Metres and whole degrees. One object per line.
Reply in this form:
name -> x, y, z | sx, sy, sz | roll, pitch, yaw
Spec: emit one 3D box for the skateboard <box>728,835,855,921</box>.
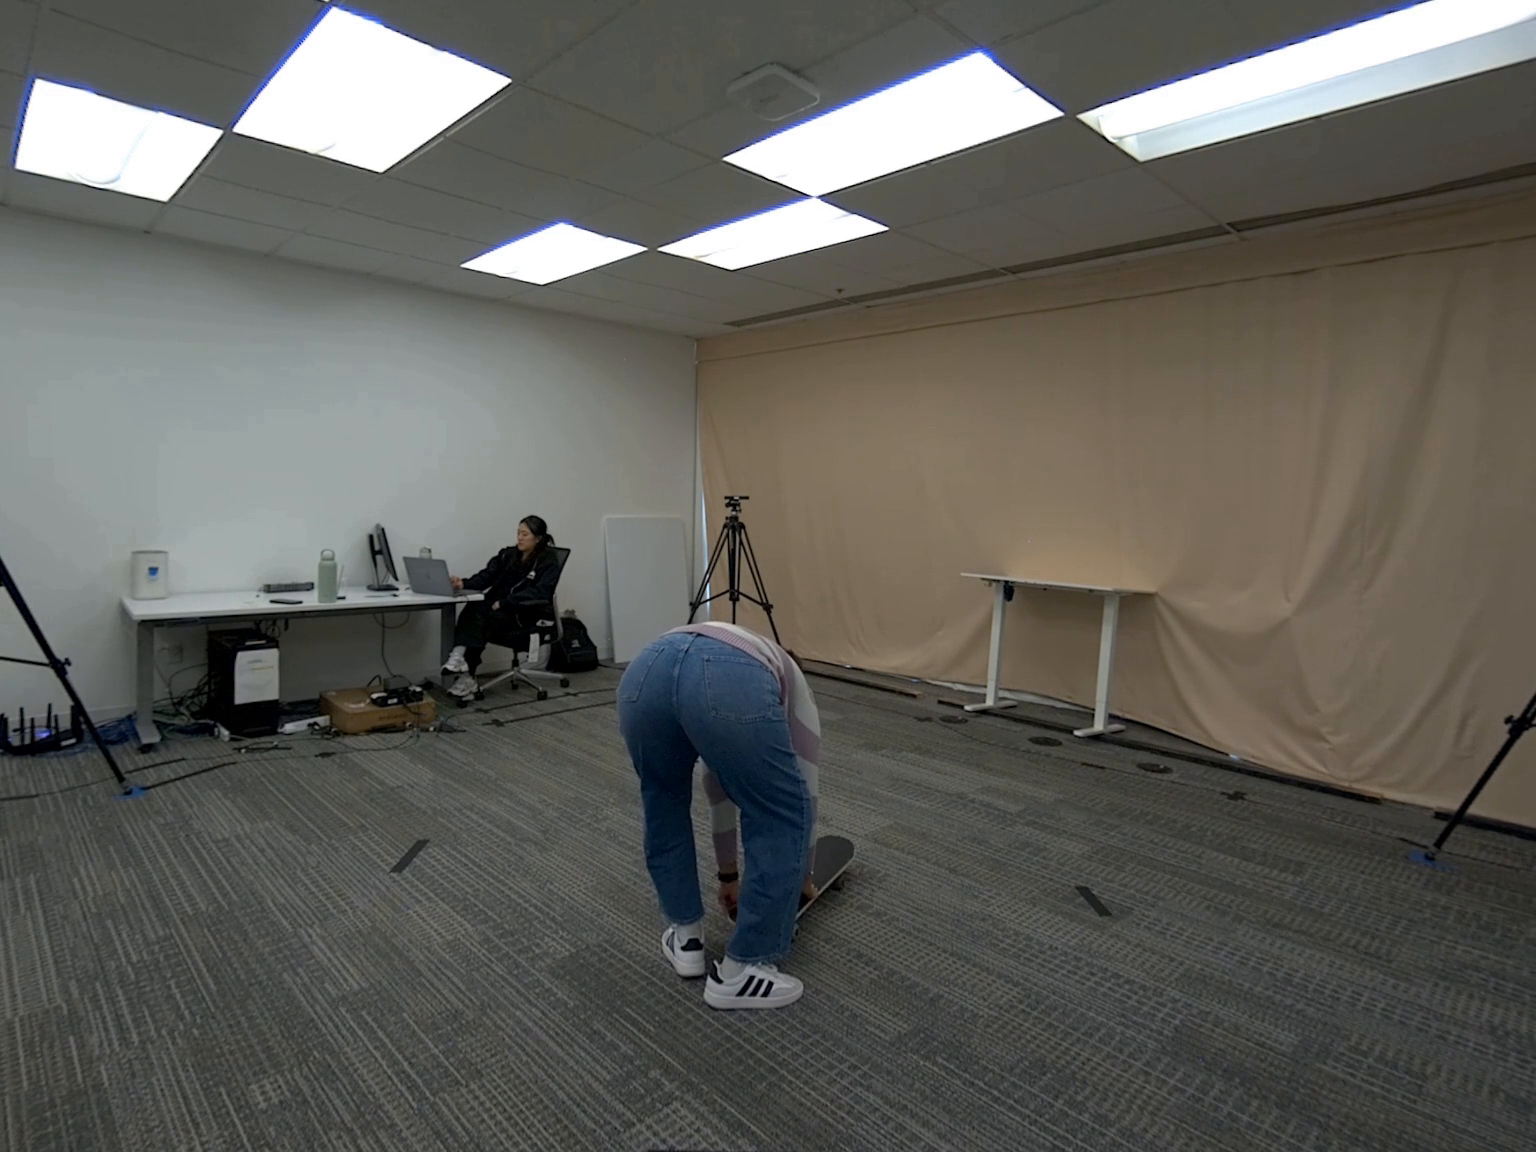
skateboard -> 0.097, 1.076, 2.868 | 0.197, 0.110, 0.772 | 4, 6, 26
